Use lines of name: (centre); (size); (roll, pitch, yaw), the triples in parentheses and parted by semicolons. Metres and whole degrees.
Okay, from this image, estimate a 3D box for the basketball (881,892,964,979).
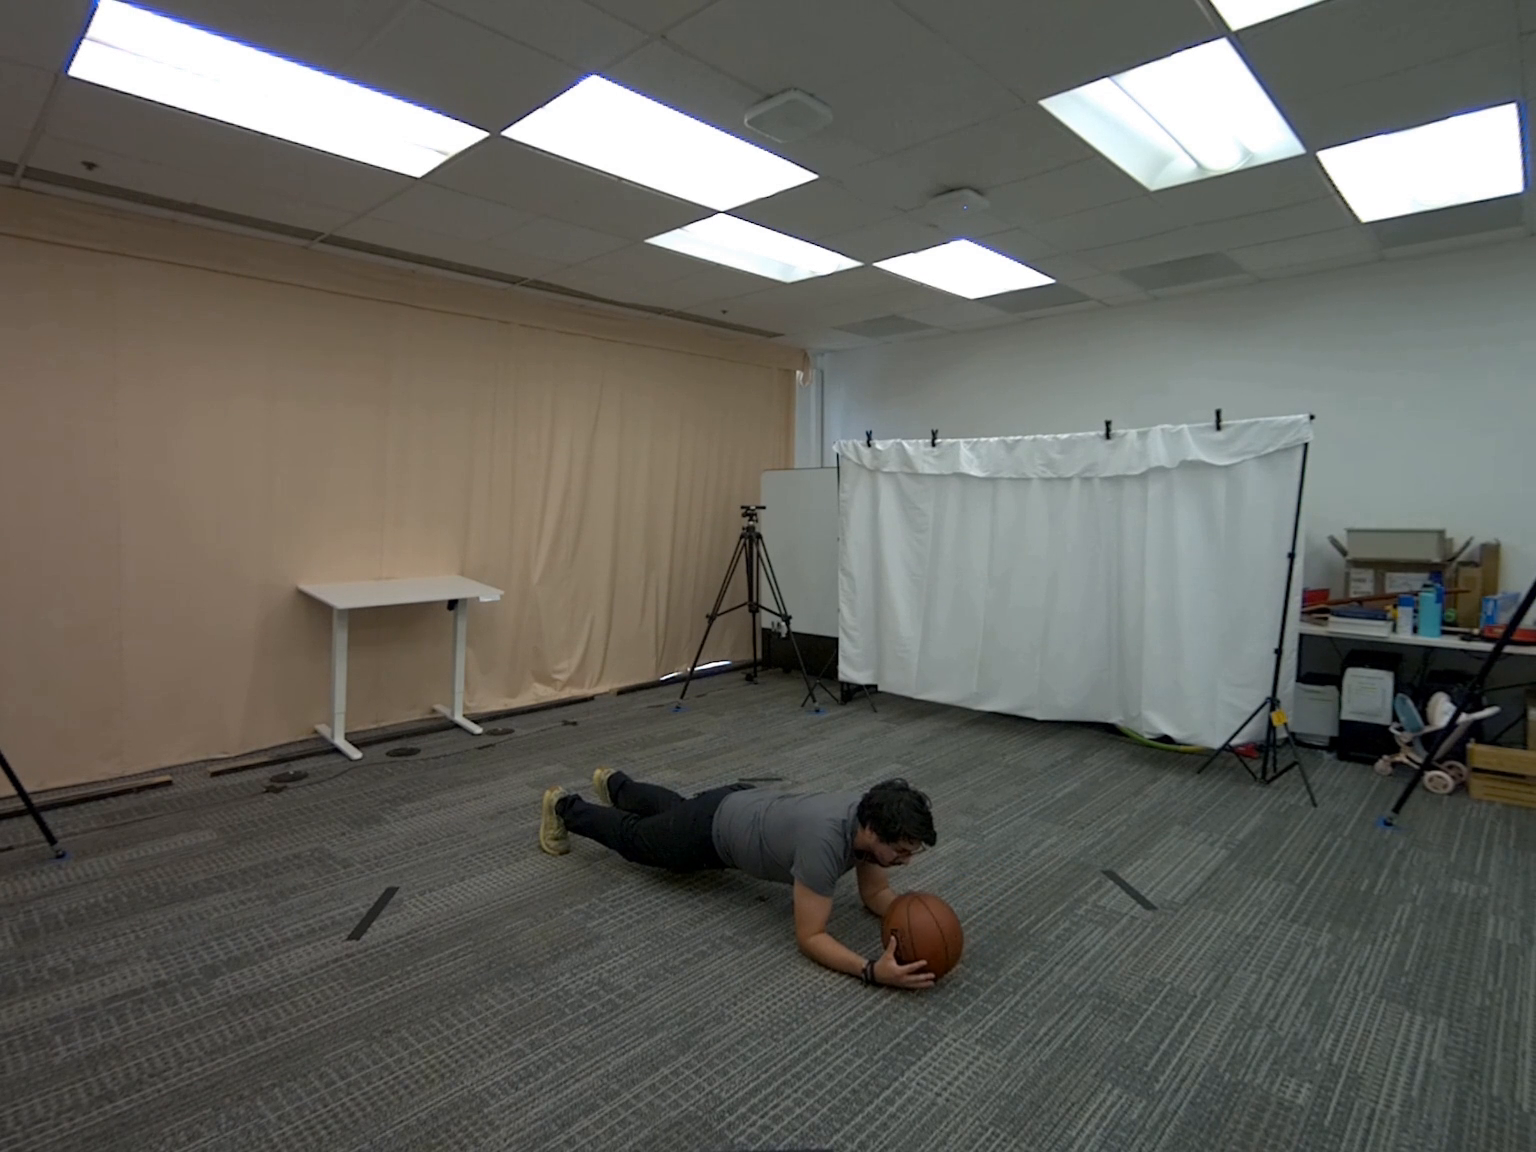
basketball: (0.458, 1.060, 2.503); (0.236, 0.235, 0.237); (0, 4, -2)
